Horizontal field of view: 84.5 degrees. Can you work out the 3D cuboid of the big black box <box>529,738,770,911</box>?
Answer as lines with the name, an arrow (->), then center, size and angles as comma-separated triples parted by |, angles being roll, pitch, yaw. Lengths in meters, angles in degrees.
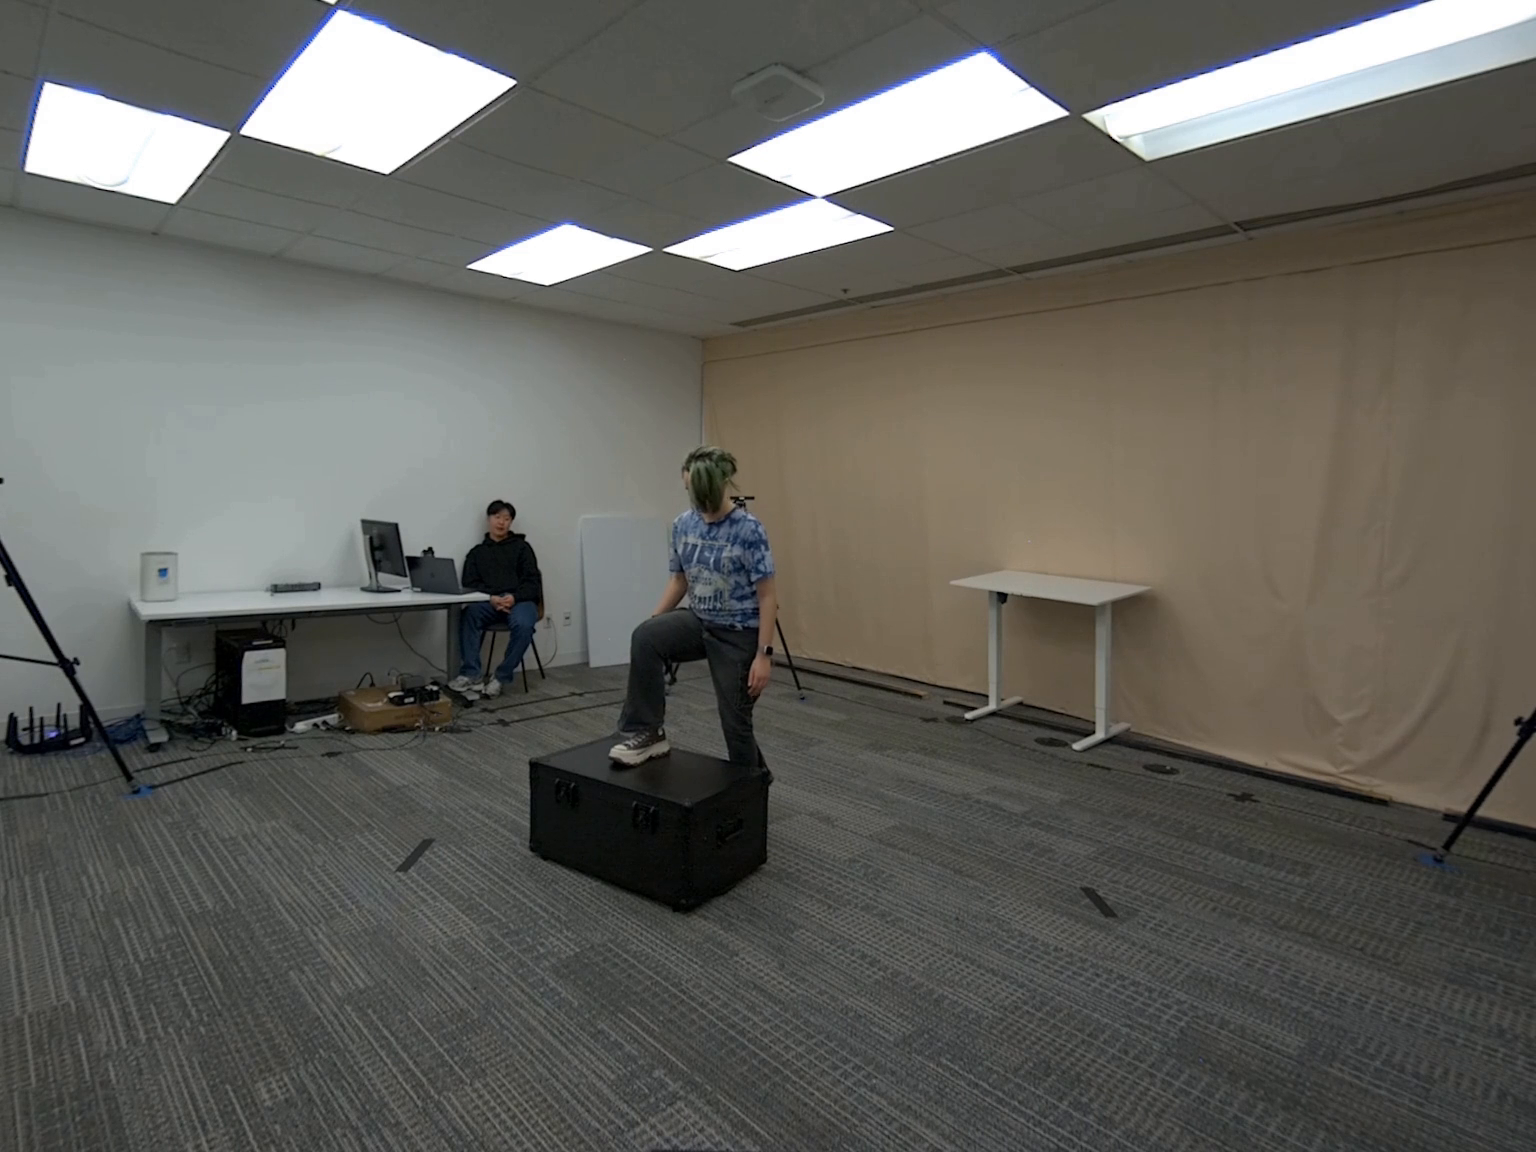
big black box -> -0.490, 0.901, 3.201 | 0.882, 0.395, 0.510 | 5, 6, 34
